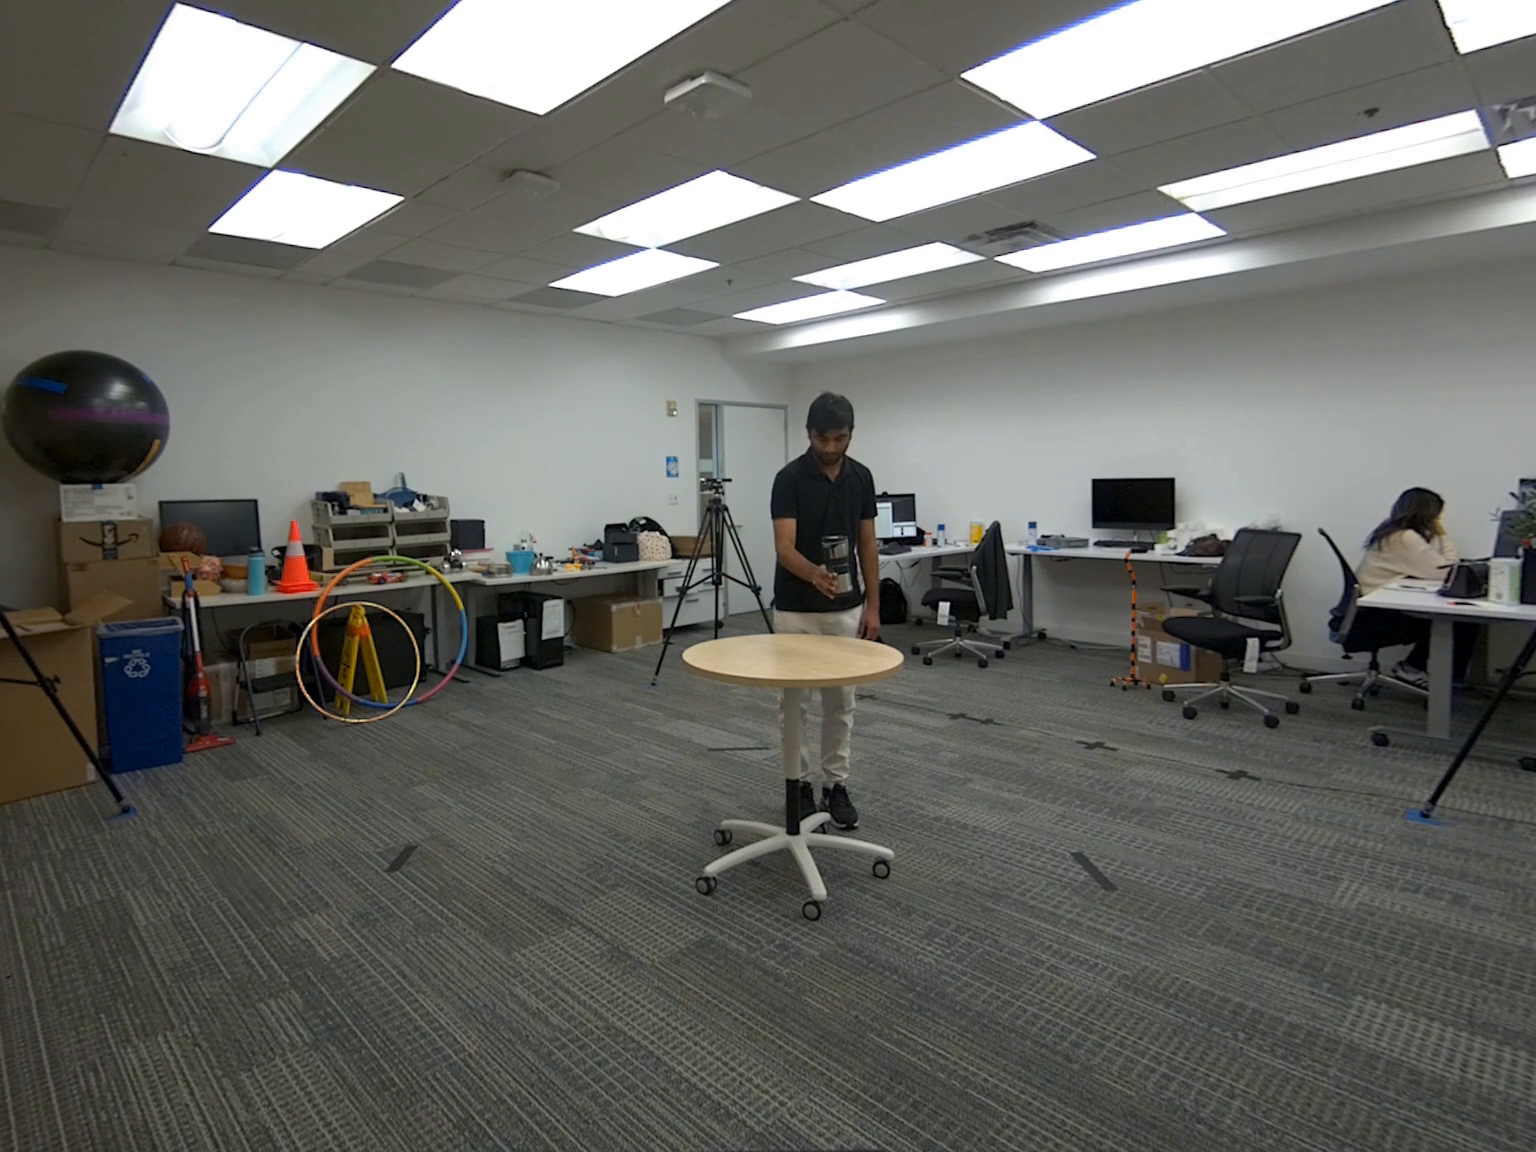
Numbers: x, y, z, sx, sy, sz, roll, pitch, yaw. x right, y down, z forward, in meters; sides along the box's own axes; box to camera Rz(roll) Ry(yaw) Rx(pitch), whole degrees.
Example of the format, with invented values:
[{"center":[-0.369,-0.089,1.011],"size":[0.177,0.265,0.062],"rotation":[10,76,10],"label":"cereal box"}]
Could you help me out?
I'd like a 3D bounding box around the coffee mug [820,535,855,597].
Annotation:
[{"center":[0.227,-0.026,2.928],"size":[0.119,0.202,0.090],"rotation":[-7,7,-26],"label":"coffee mug"}]
